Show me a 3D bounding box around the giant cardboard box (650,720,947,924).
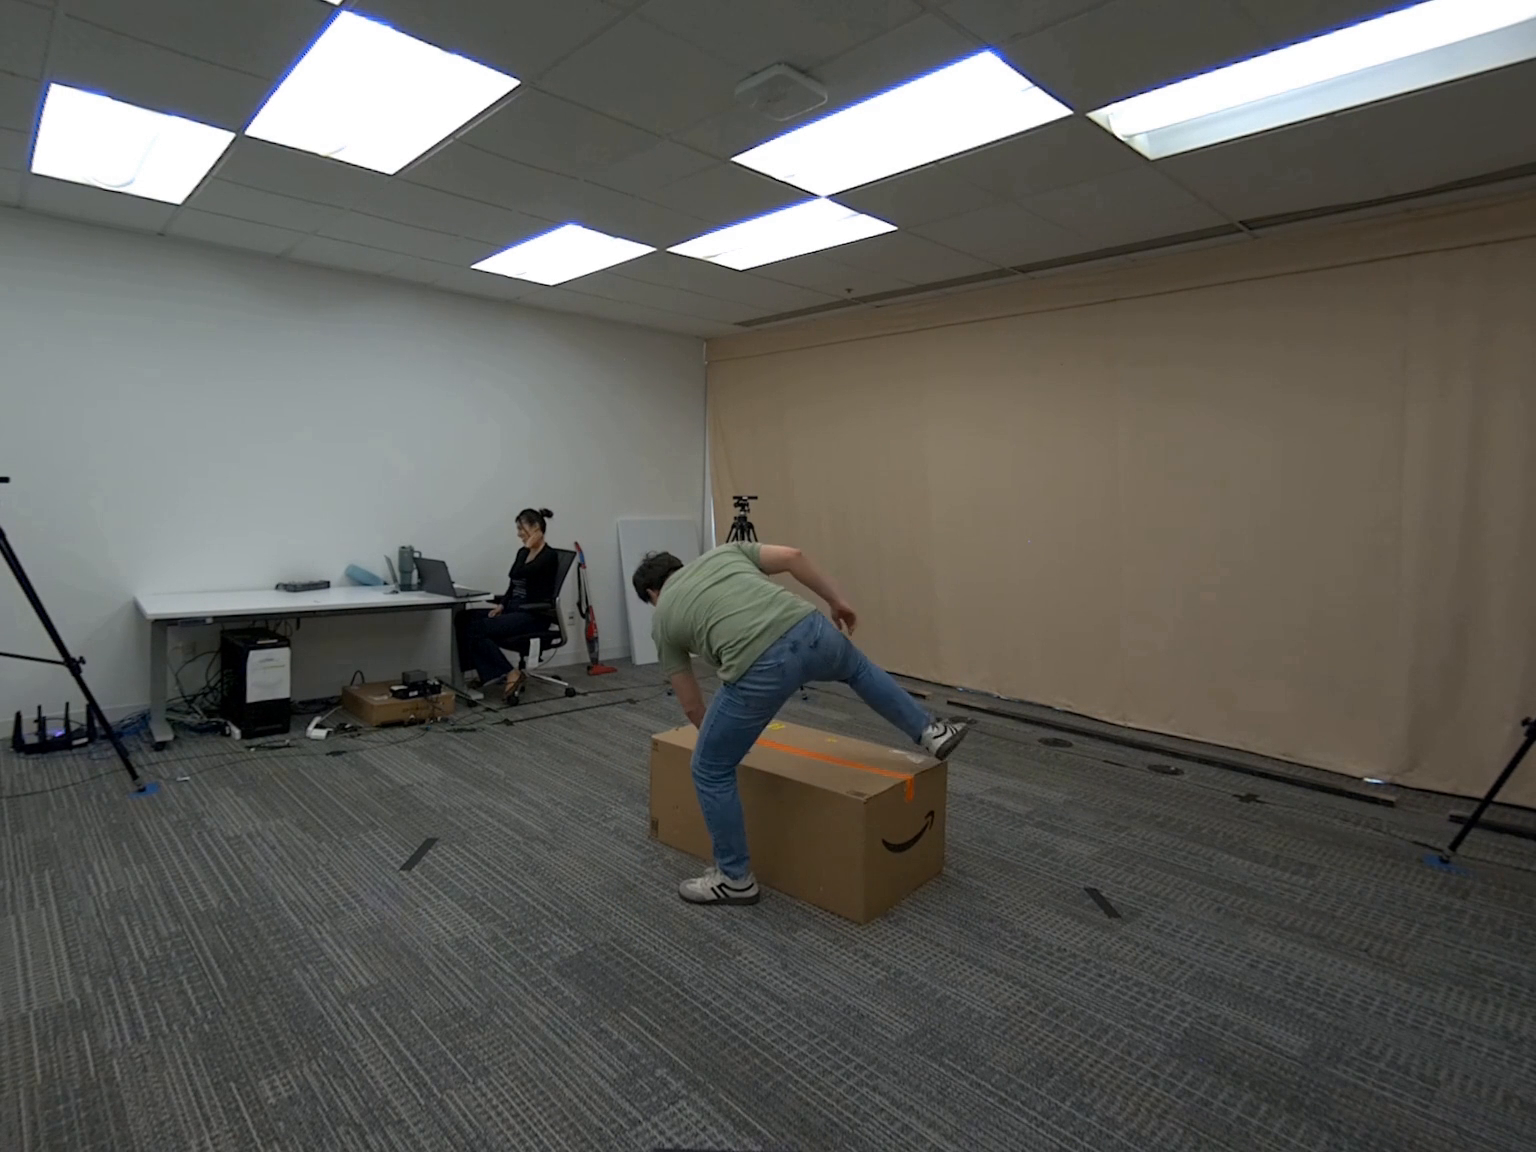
[{"bbox_3d":[0.089,0.881,3.289,1.052,0.425,0.564,5,6,40],"label":"giant cardboard box"}]
